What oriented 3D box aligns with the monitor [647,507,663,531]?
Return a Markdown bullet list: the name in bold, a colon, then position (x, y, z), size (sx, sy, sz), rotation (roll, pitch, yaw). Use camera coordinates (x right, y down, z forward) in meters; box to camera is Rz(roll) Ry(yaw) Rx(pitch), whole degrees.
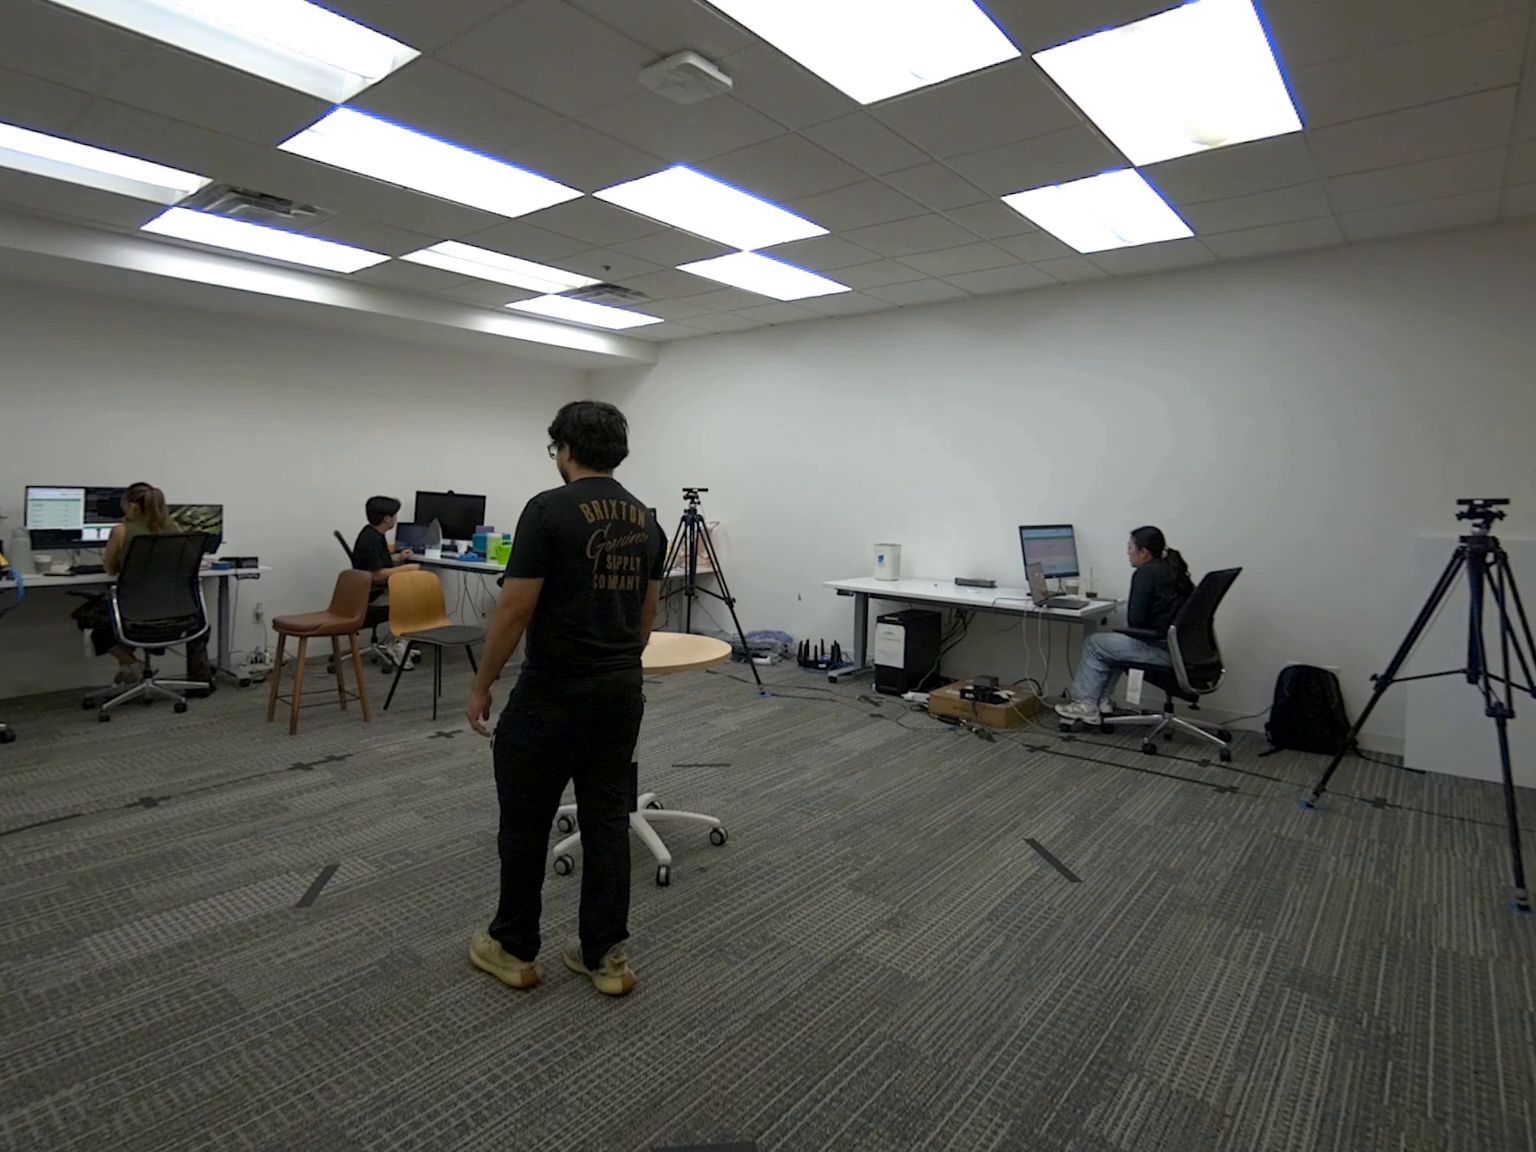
- **monitor**: position (-0.630, 0.005, 3.292), size (0.215, 0.553, 0.553), rotation (-1, 3, 22)
